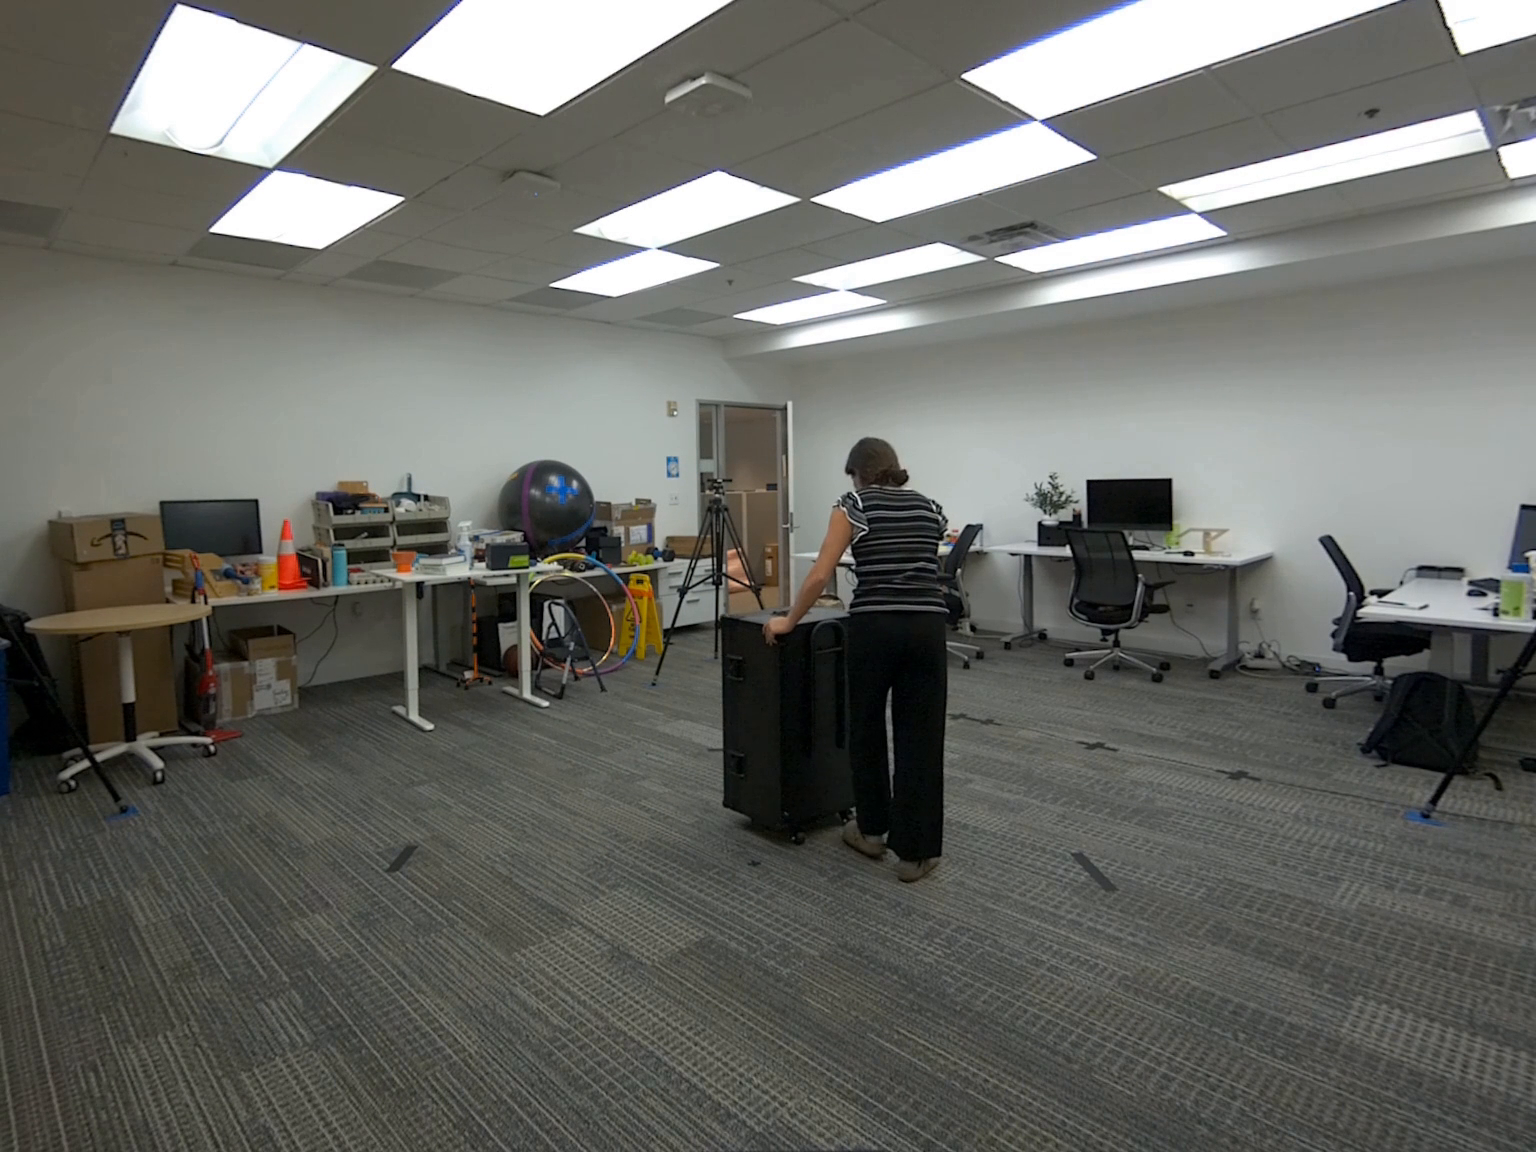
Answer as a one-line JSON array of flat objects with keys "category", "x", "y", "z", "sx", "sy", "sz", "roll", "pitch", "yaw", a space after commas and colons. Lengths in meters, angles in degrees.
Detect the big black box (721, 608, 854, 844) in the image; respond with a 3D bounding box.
[{"category": "big black box", "x": 0.117, "y": 0.578, "z": 3.455, "sx": 0.507, "sy": 0.858, "sz": 0.408, "roll": -4, "pitch": 6, "yaw": -40}]
